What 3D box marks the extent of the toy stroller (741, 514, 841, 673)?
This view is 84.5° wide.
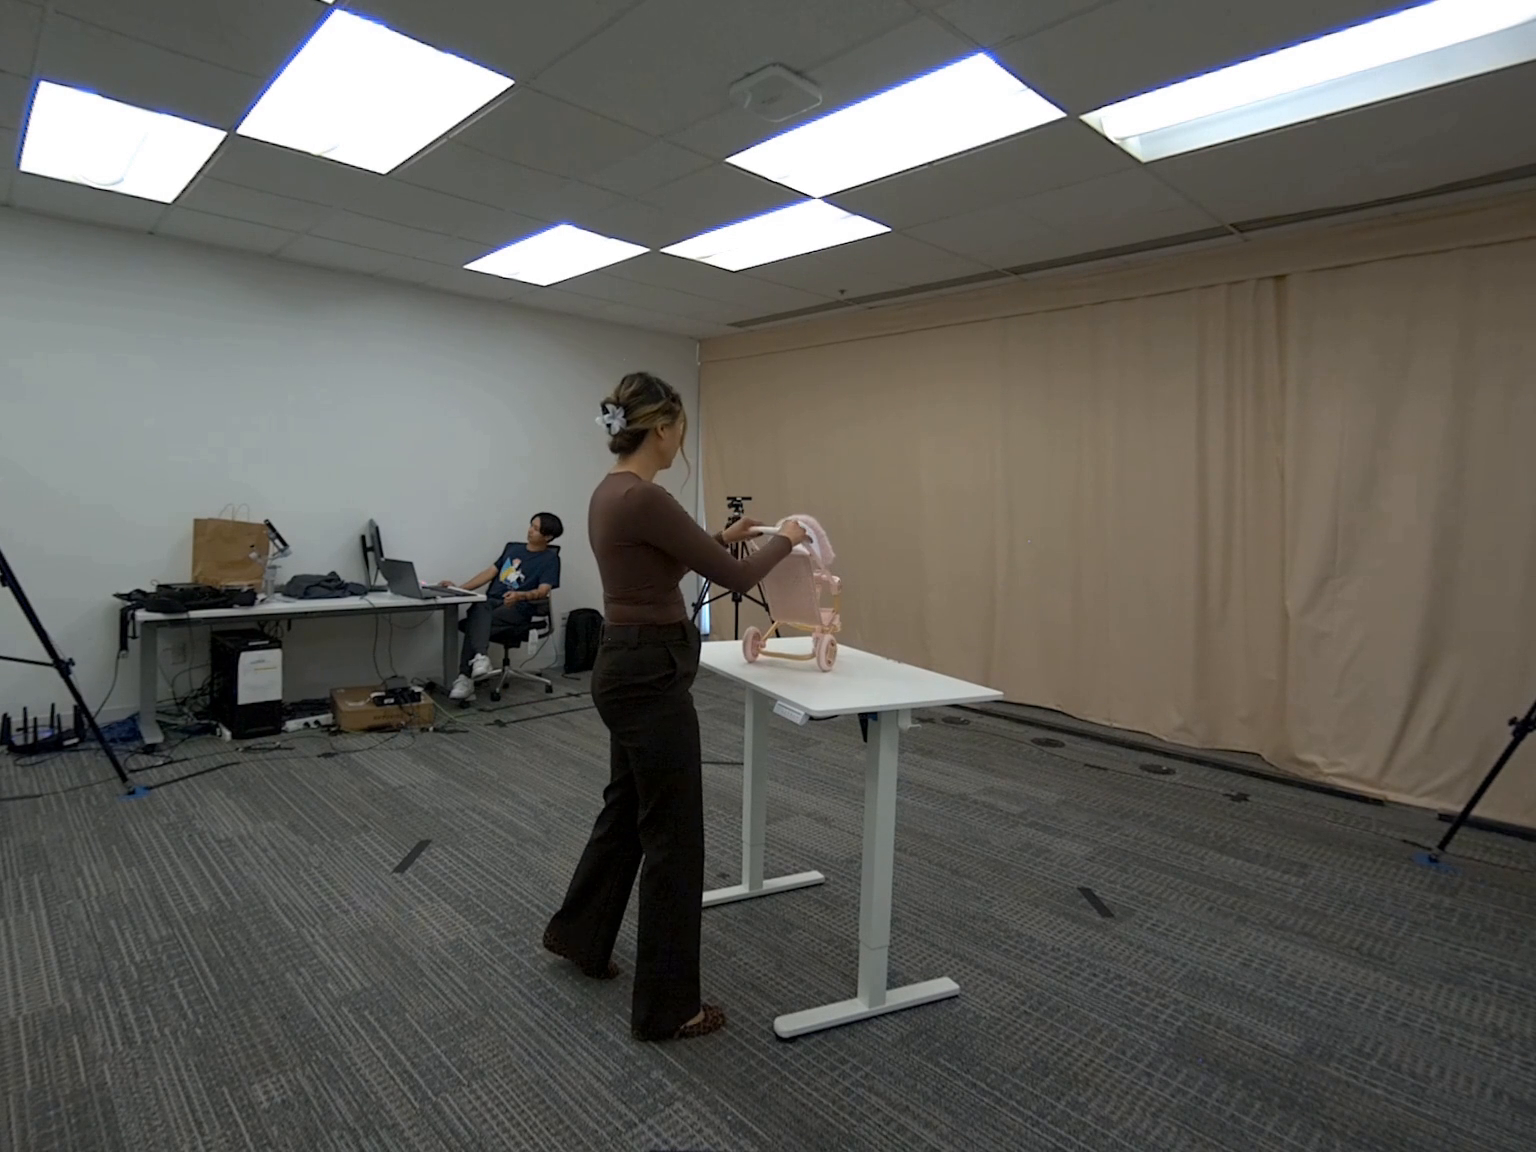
[{"bbox_3d":[0.099,0.053,2.609,0.288,0.528,0.338,5,20,31],"label":"toy stroller"}]
